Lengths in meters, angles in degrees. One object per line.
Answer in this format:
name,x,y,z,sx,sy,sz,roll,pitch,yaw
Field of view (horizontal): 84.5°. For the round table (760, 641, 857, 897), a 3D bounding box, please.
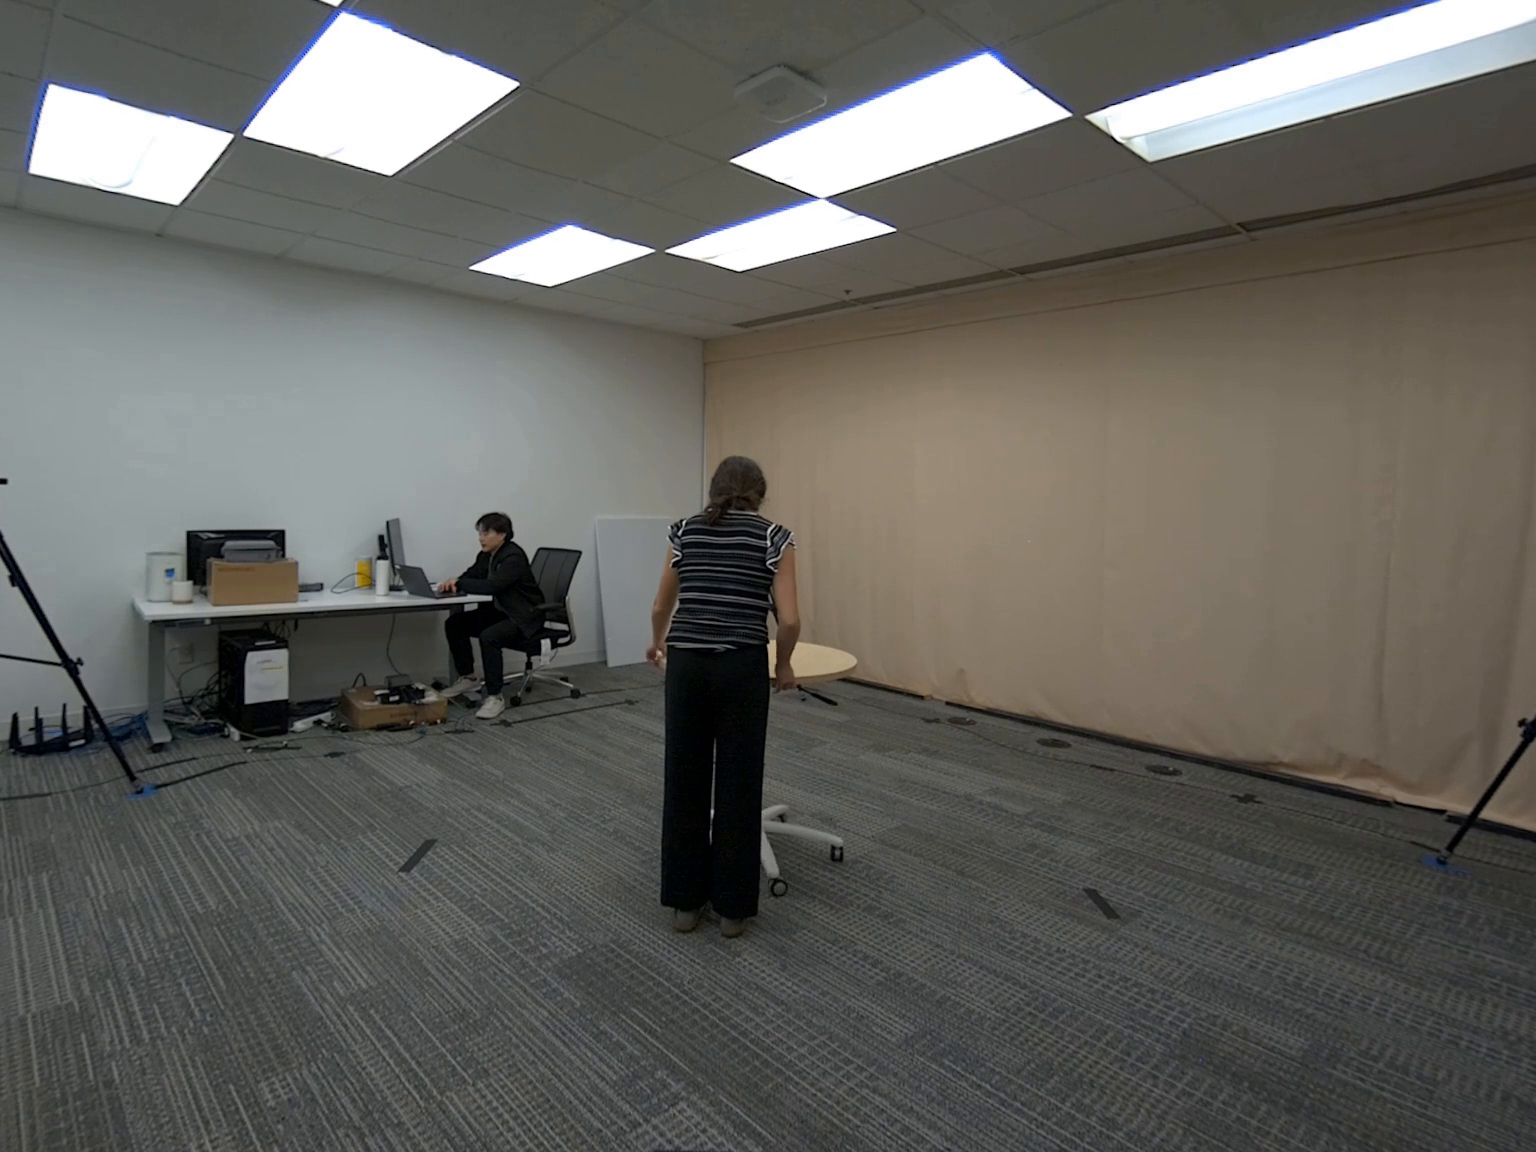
round table,-0.073,0.701,3.265,0.784,0.784,0.788,2,4,-1
